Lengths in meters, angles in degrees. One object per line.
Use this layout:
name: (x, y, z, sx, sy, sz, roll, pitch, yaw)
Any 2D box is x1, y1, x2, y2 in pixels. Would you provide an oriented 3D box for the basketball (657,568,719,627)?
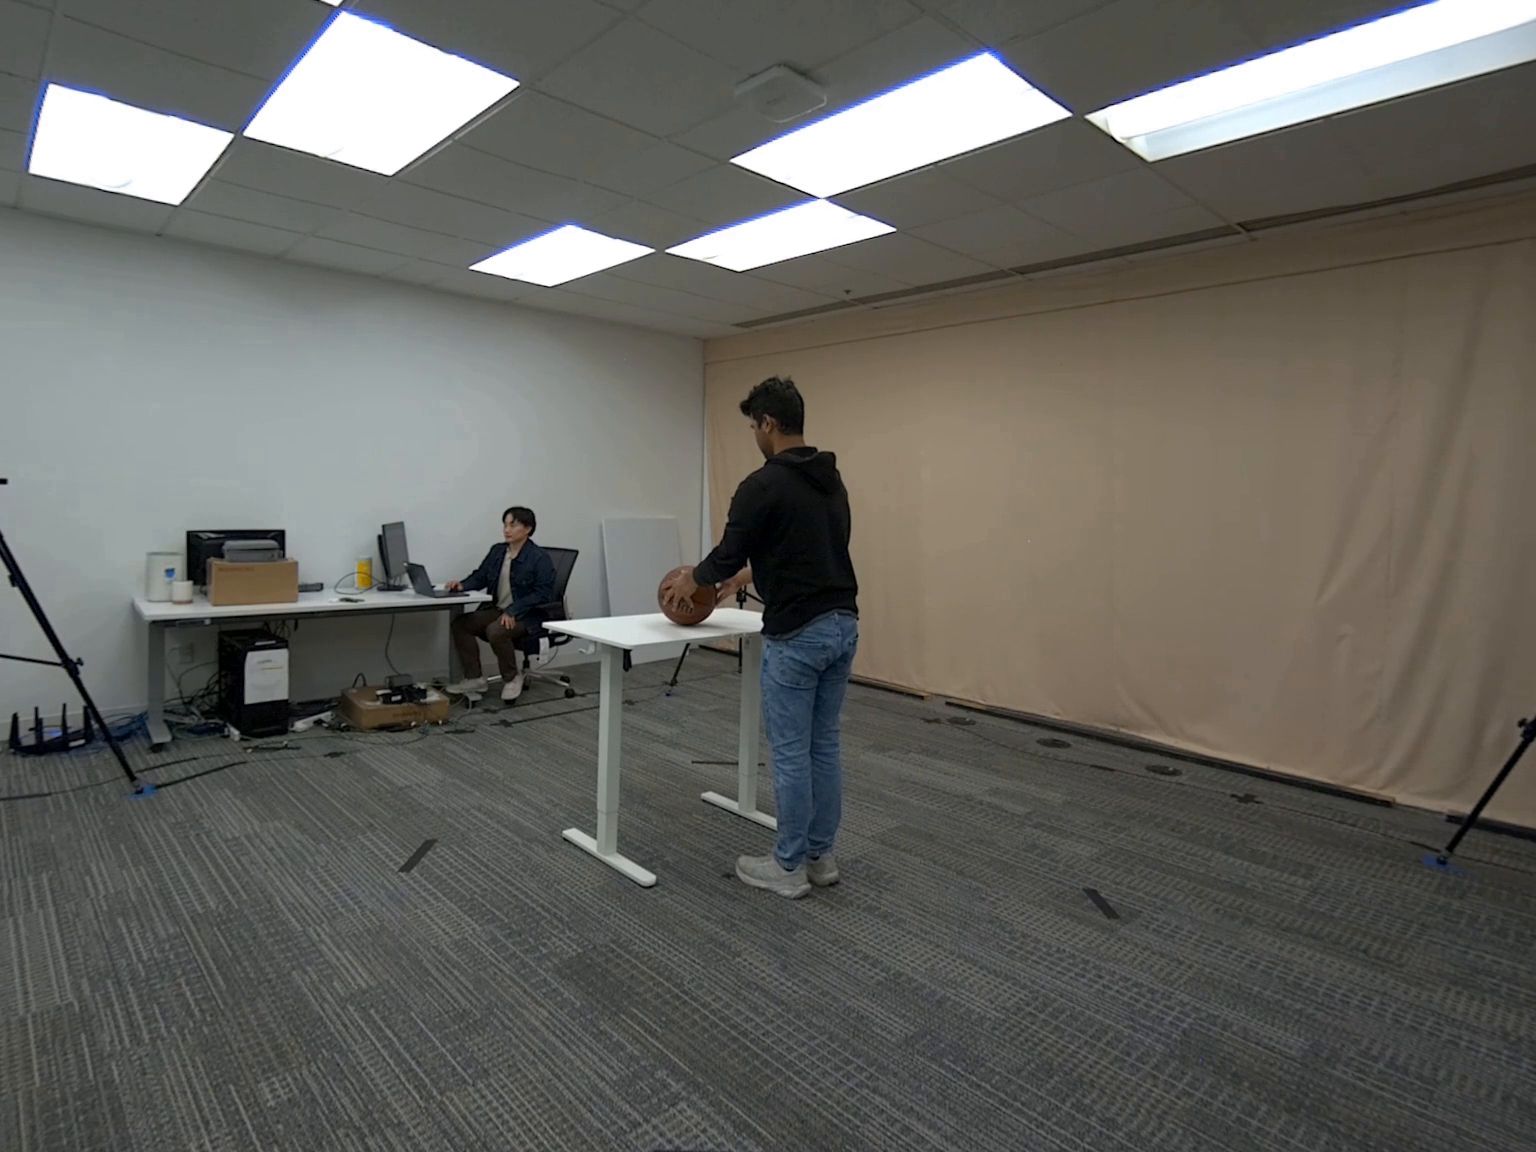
basketball: (-0.326, 0.077, 3.358, 0.236, 0.235, 0.237, 1, 4, -1)
